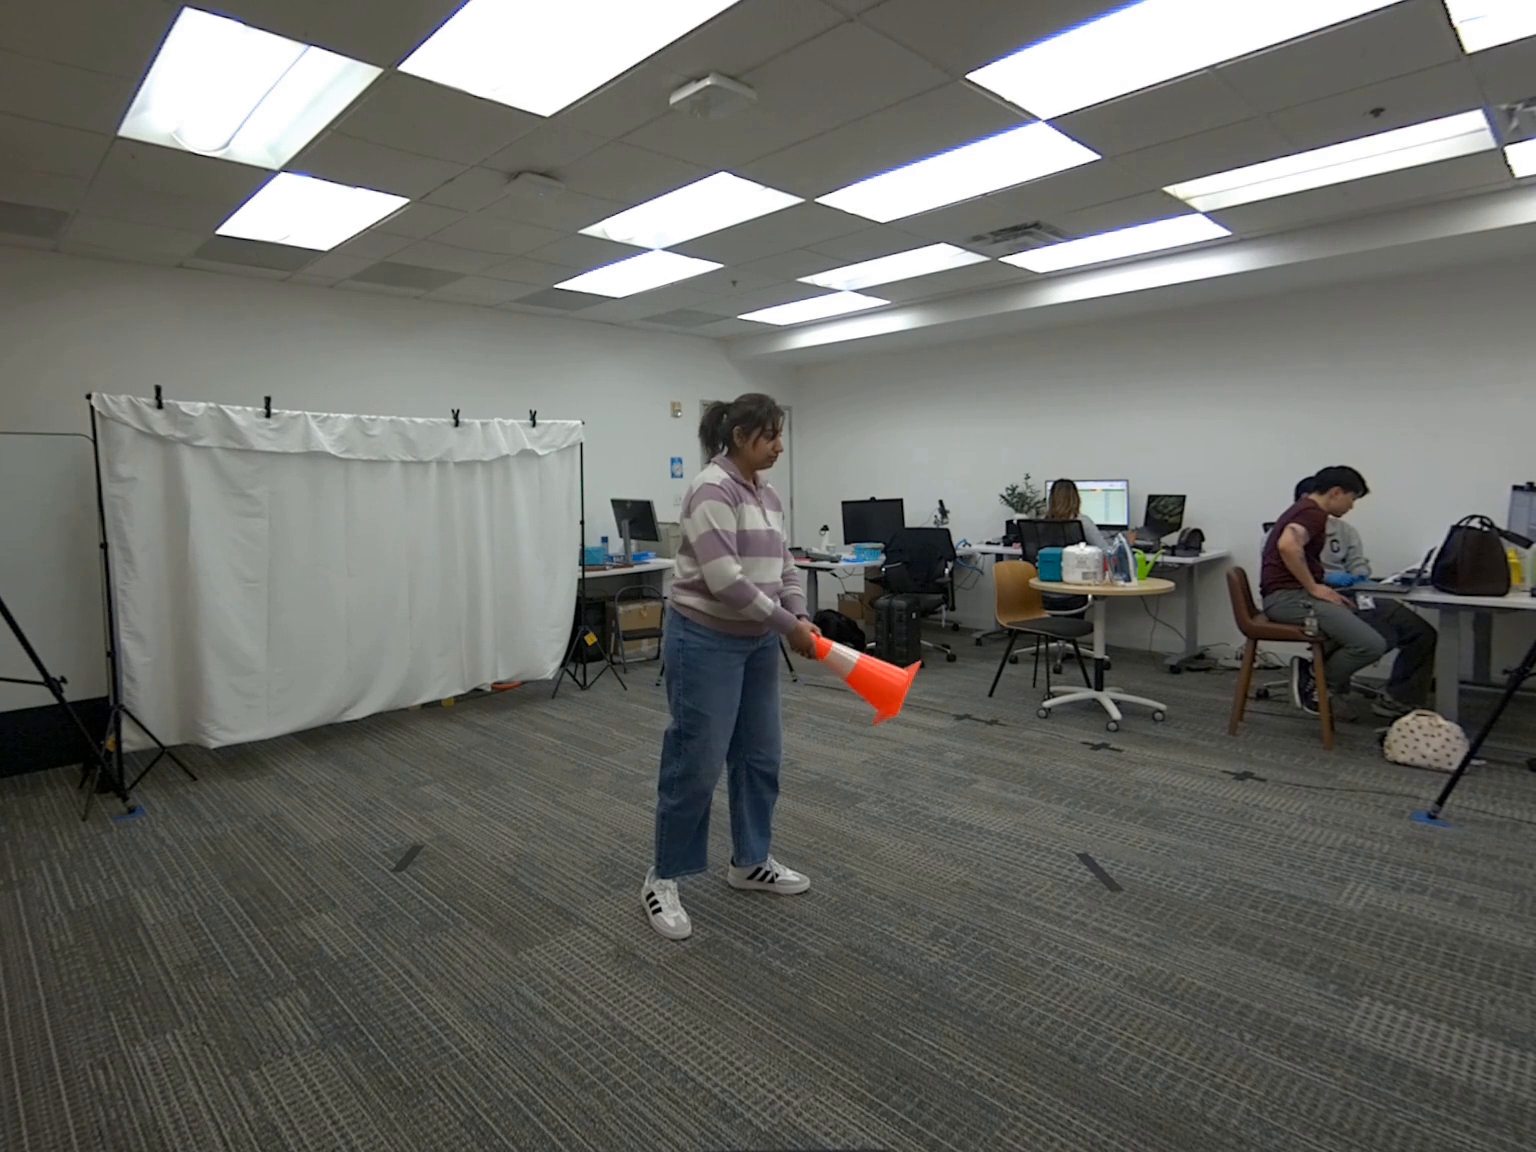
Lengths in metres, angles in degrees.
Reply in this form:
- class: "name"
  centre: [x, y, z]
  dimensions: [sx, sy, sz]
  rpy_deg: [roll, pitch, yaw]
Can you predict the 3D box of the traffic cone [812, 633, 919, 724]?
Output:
- class: "traffic cone"
  centre: [0.229, 0.270, 2.711]
  dimensions: [0.385, 0.204, 0.203]
  rpy_deg: [31, -19, 3]
